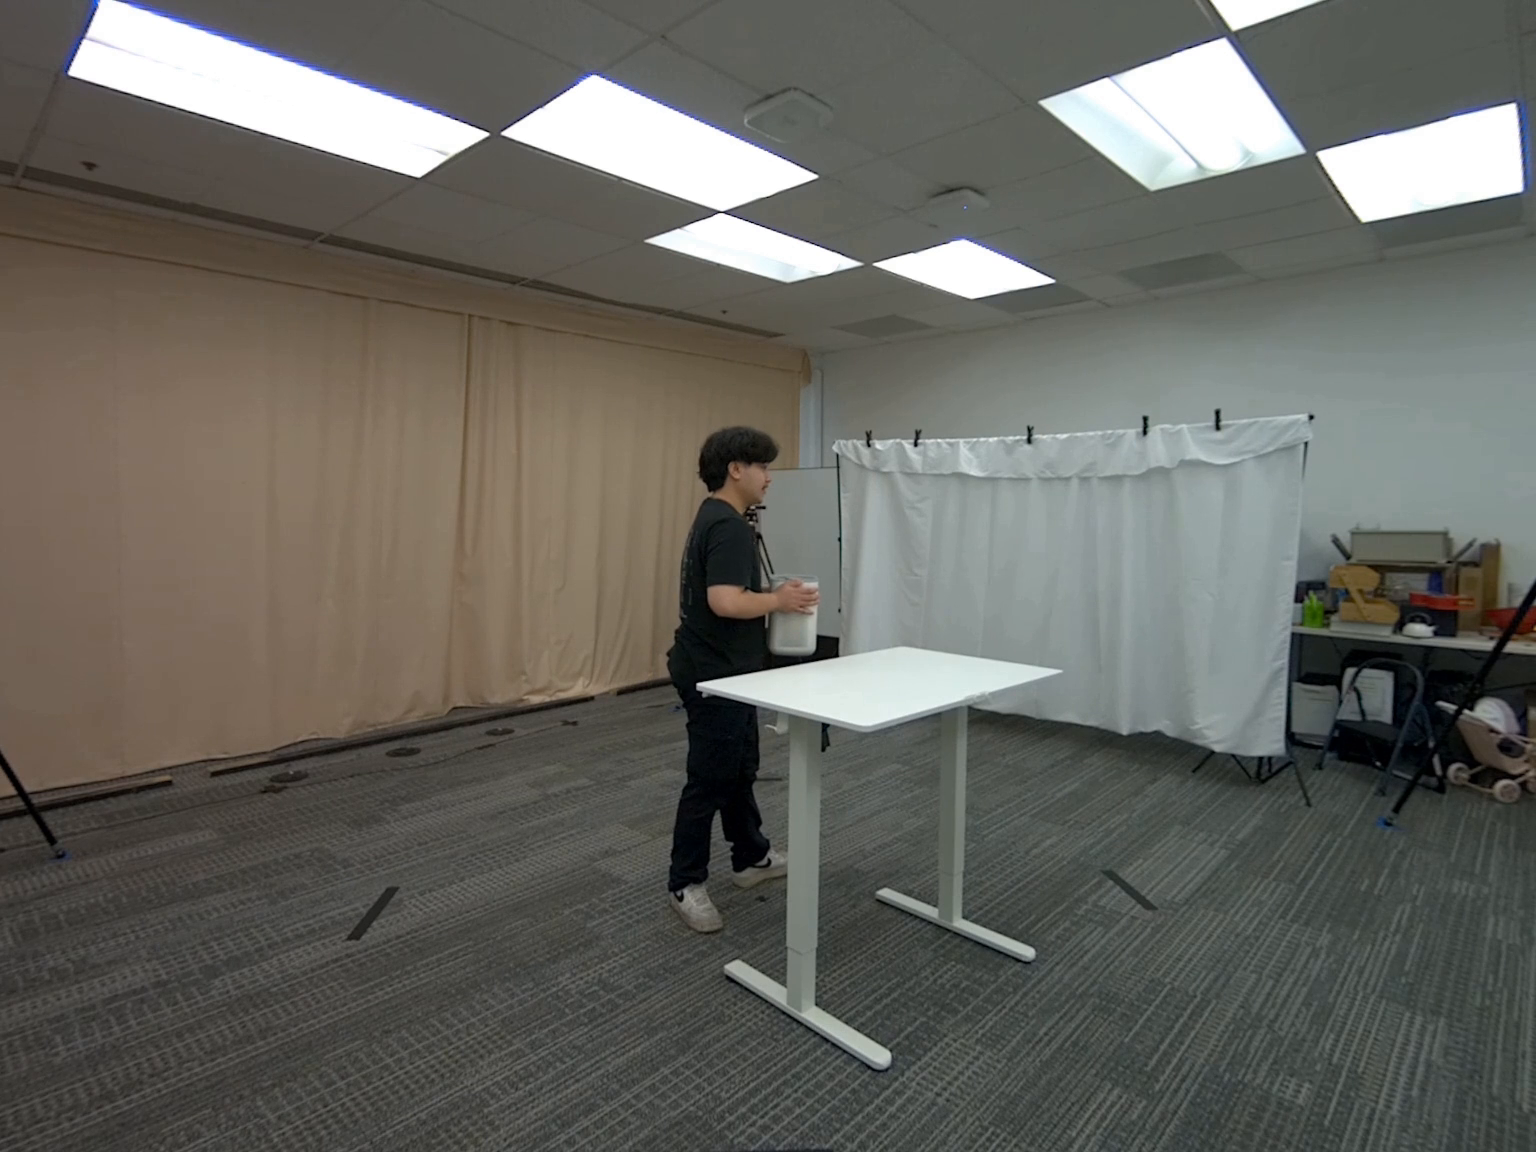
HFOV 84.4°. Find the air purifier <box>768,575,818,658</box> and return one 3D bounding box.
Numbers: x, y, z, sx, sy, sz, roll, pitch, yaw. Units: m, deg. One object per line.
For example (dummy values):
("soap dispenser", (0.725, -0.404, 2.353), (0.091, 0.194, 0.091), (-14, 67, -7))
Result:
("air purifier", (0.088, 0.138, 2.951), (0.171, 0.264, 0.172), (2, 5, -3))
